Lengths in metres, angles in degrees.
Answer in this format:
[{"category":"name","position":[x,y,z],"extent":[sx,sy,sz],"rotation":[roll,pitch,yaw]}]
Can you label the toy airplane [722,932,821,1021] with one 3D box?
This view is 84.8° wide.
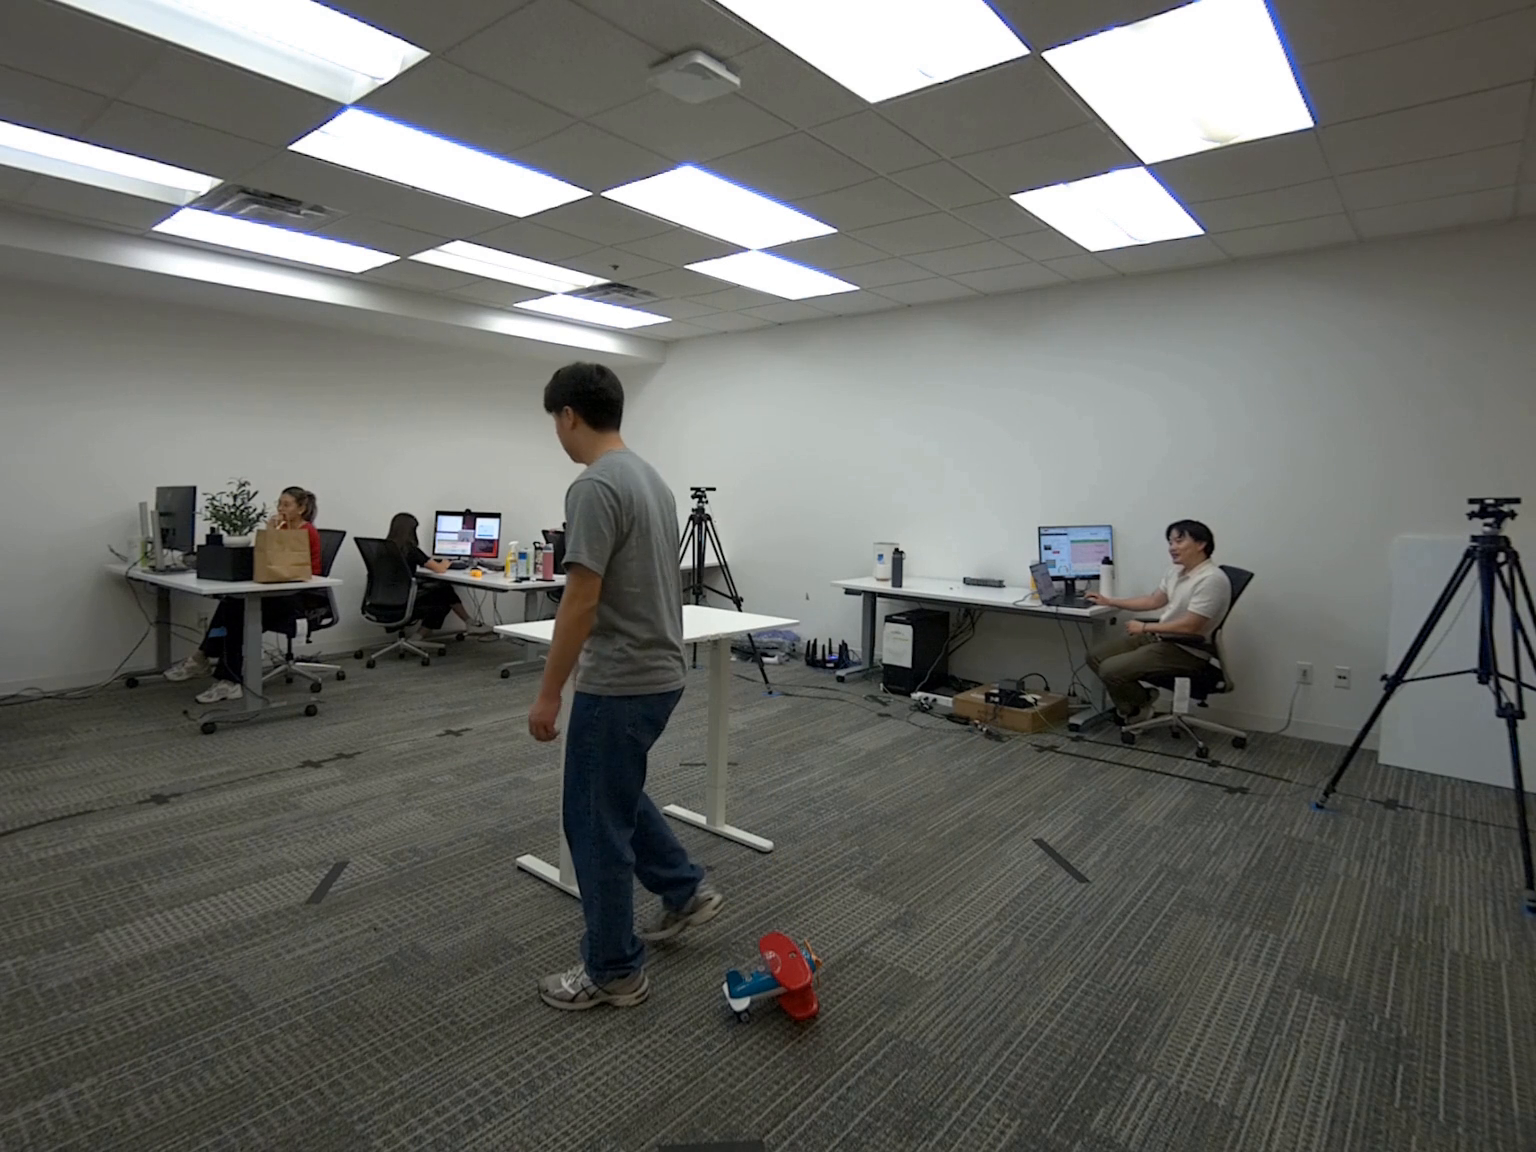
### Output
[{"category":"toy airplane","position":[0.016,1.087,2.237],"extent":[0.260,0.156,0.251],"rotation":[7,7,43]}]
